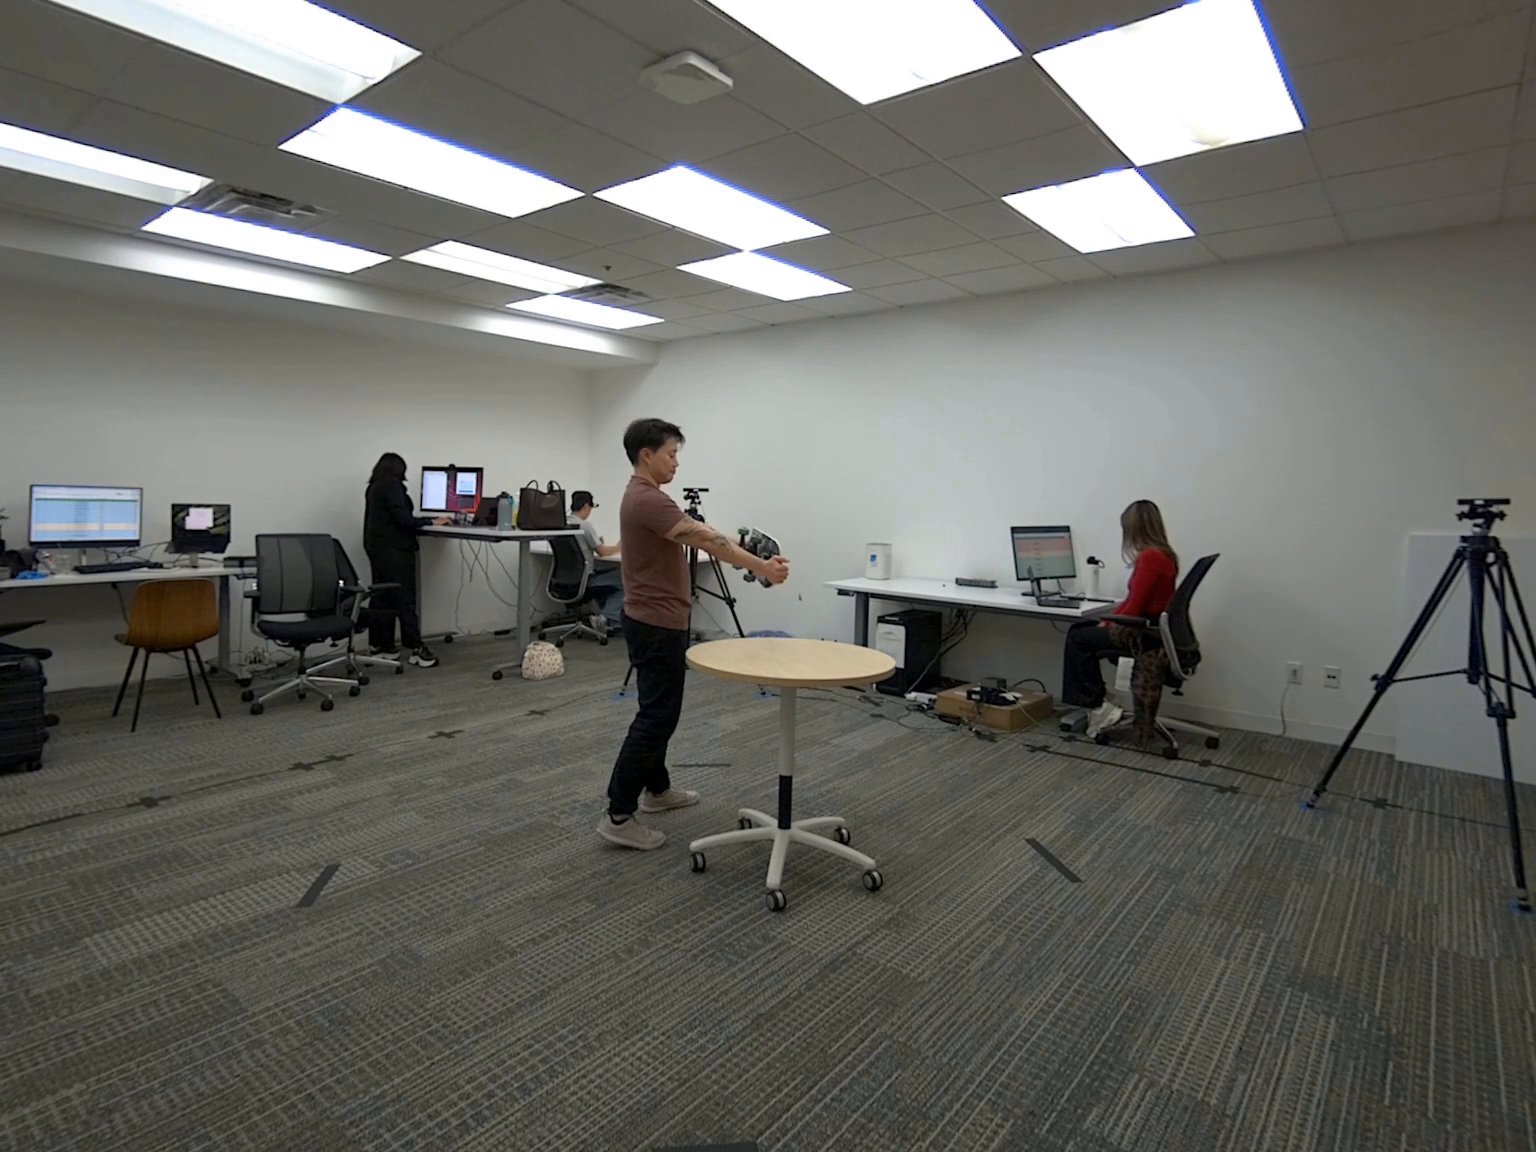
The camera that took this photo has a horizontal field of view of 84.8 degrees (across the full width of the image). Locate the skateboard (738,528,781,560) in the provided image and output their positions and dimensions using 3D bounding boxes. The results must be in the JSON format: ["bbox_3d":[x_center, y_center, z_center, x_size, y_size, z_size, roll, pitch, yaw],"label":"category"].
[{"bbox_3d":[-0.074,-0.090,3.549,0.109,0.193,0.797,10,6,-11],"label":"skateboard"}]
